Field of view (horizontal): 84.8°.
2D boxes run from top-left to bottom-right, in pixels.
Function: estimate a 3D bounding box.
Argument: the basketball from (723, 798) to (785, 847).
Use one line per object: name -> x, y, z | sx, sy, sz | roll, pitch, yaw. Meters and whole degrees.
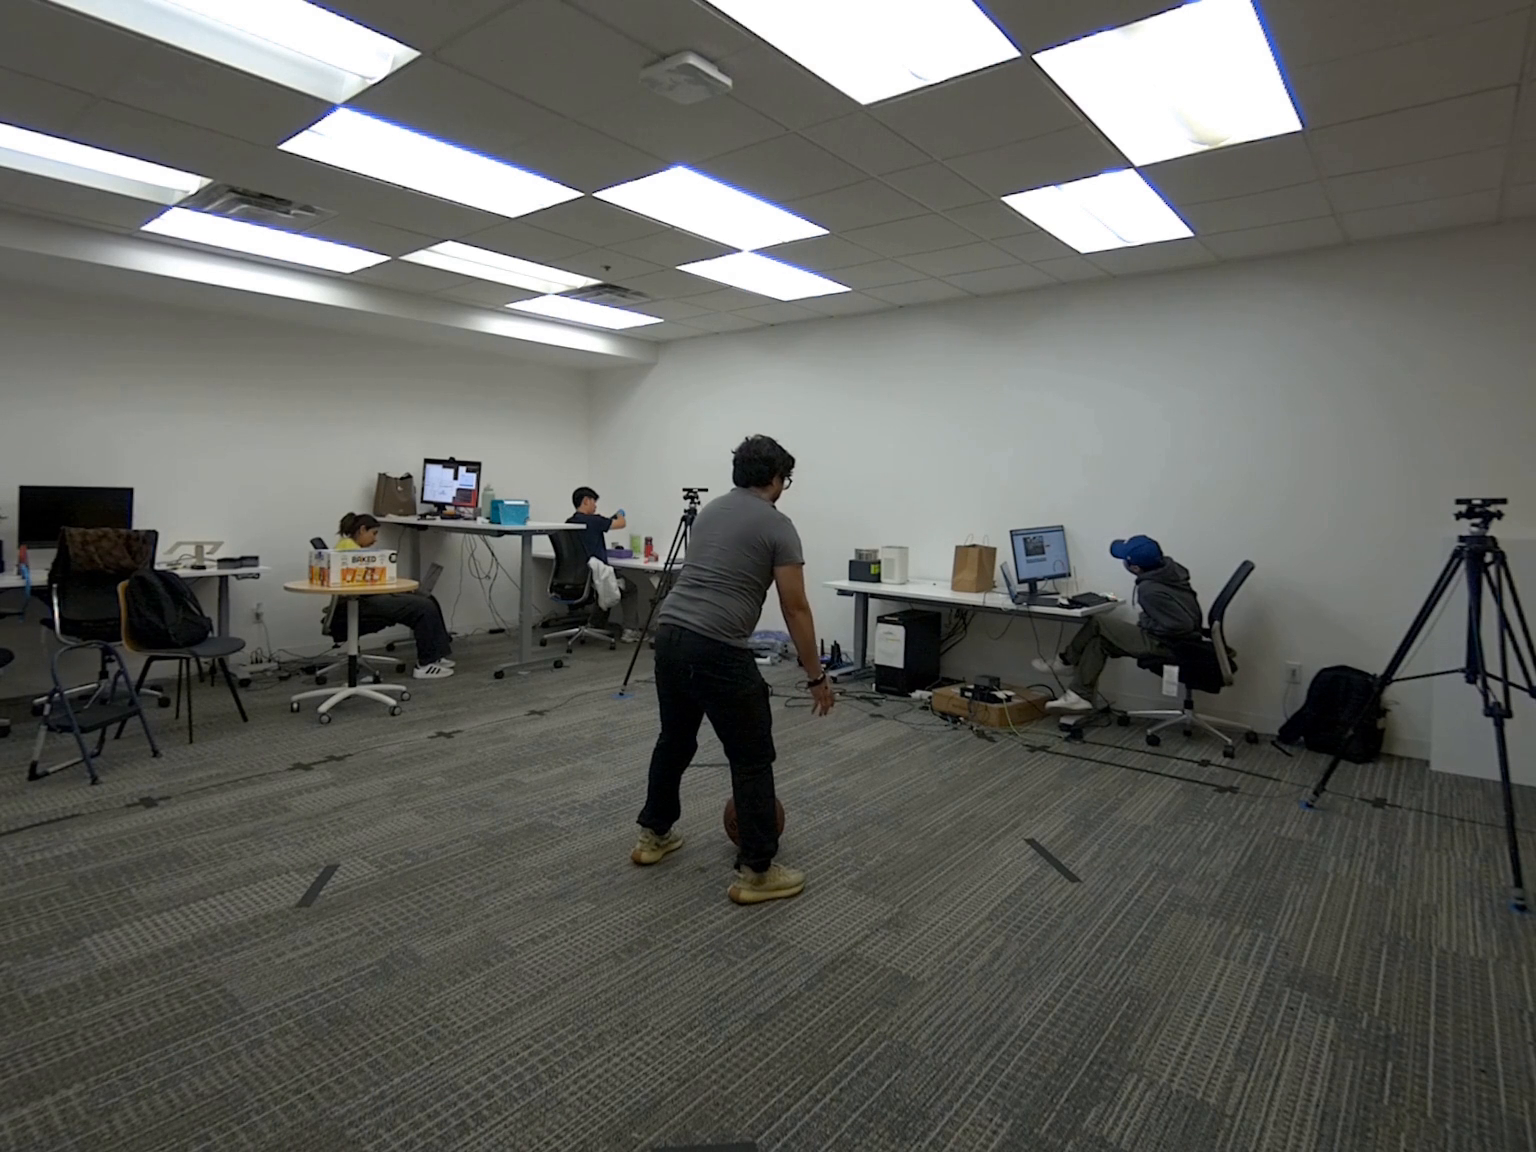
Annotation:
basketball -> -0.059, 0.931, 3.291 | 0.235, 0.235, 0.237 | 1, 4, -2
